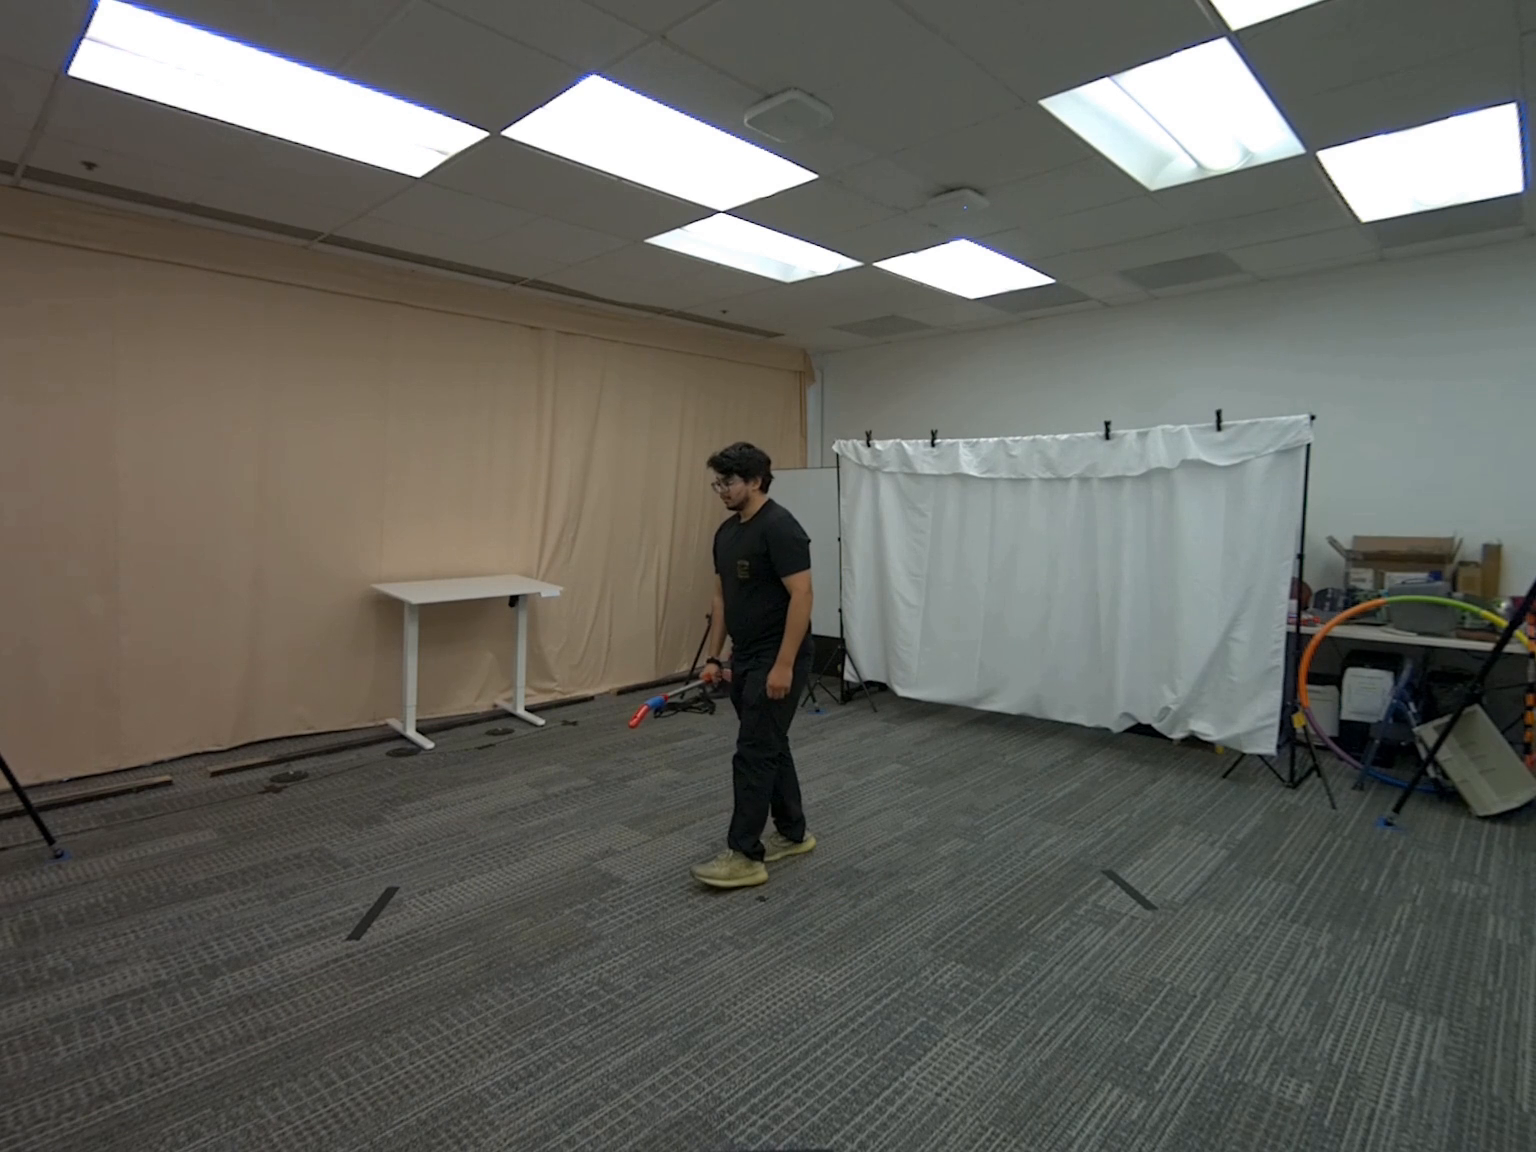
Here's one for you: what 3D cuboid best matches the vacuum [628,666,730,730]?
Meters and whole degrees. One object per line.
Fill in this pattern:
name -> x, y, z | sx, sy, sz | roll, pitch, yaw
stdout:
vacuum -> -0.274, 0.466, 3.306 | 0.259, 0.143, 1.026 | 6, 7, 22
